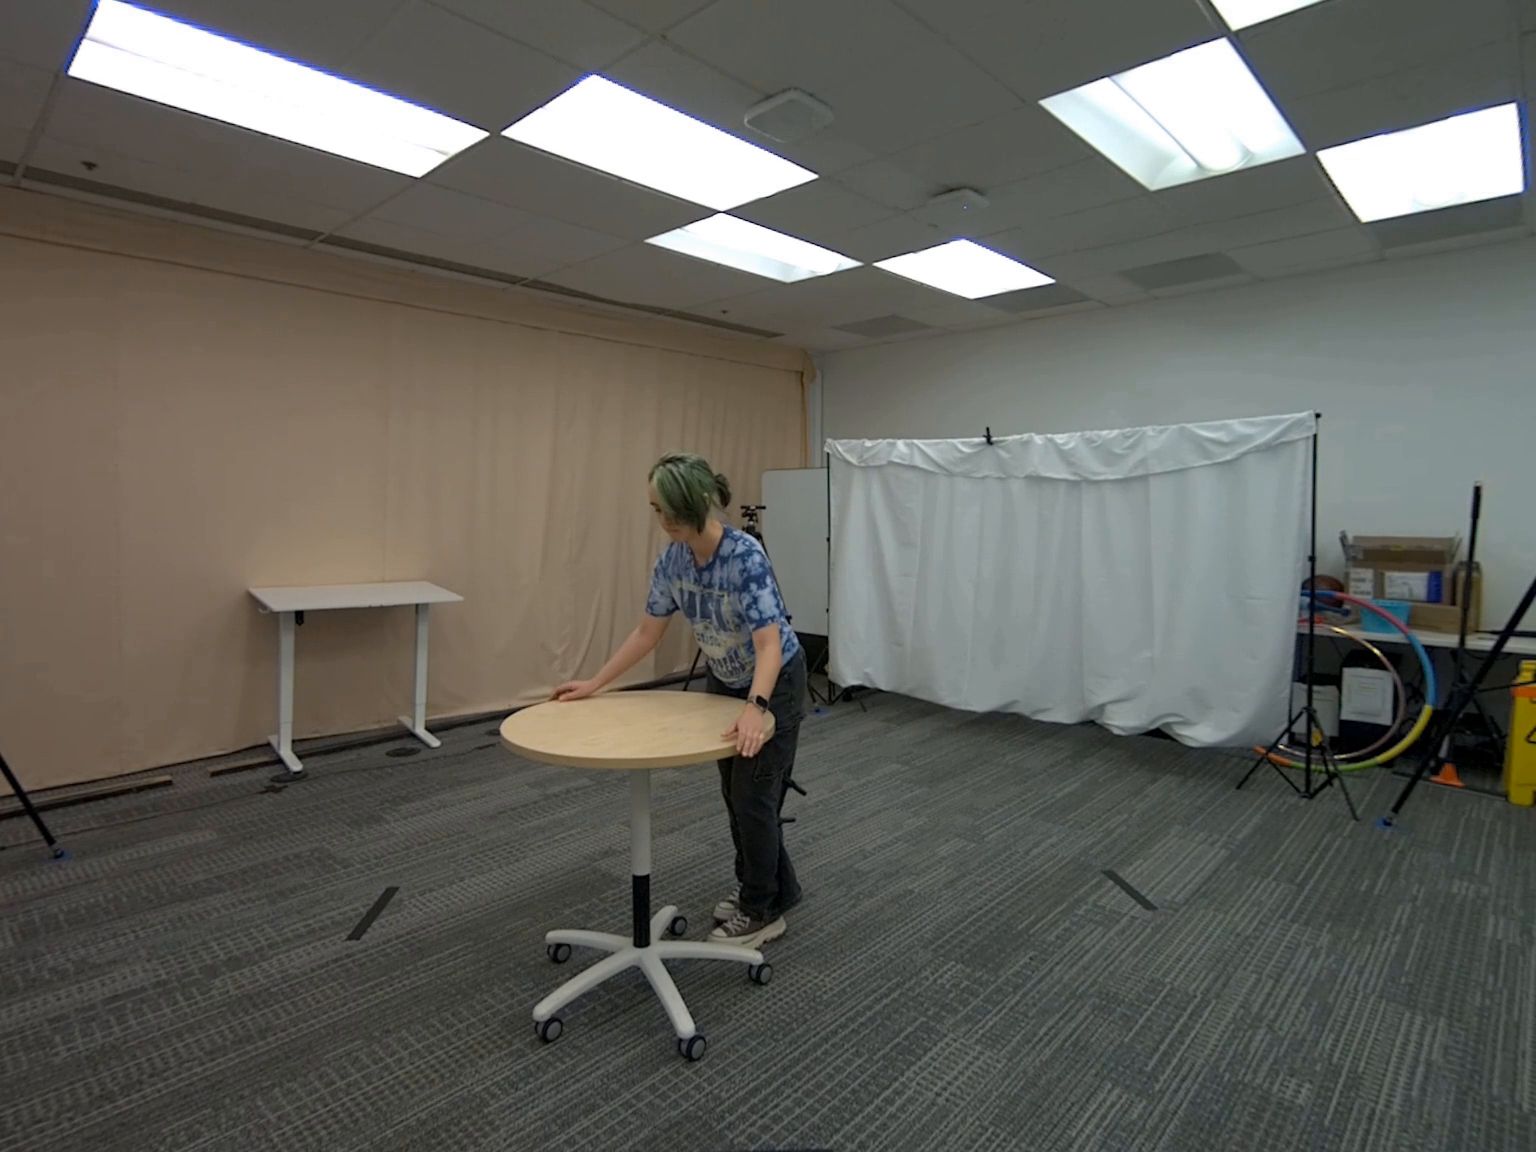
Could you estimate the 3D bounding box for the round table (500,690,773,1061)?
[{"bbox_3d":[-0.366,0.807,2.390,0.763,0.792,0.767,-1,4,-2],"label":"round table"}]
